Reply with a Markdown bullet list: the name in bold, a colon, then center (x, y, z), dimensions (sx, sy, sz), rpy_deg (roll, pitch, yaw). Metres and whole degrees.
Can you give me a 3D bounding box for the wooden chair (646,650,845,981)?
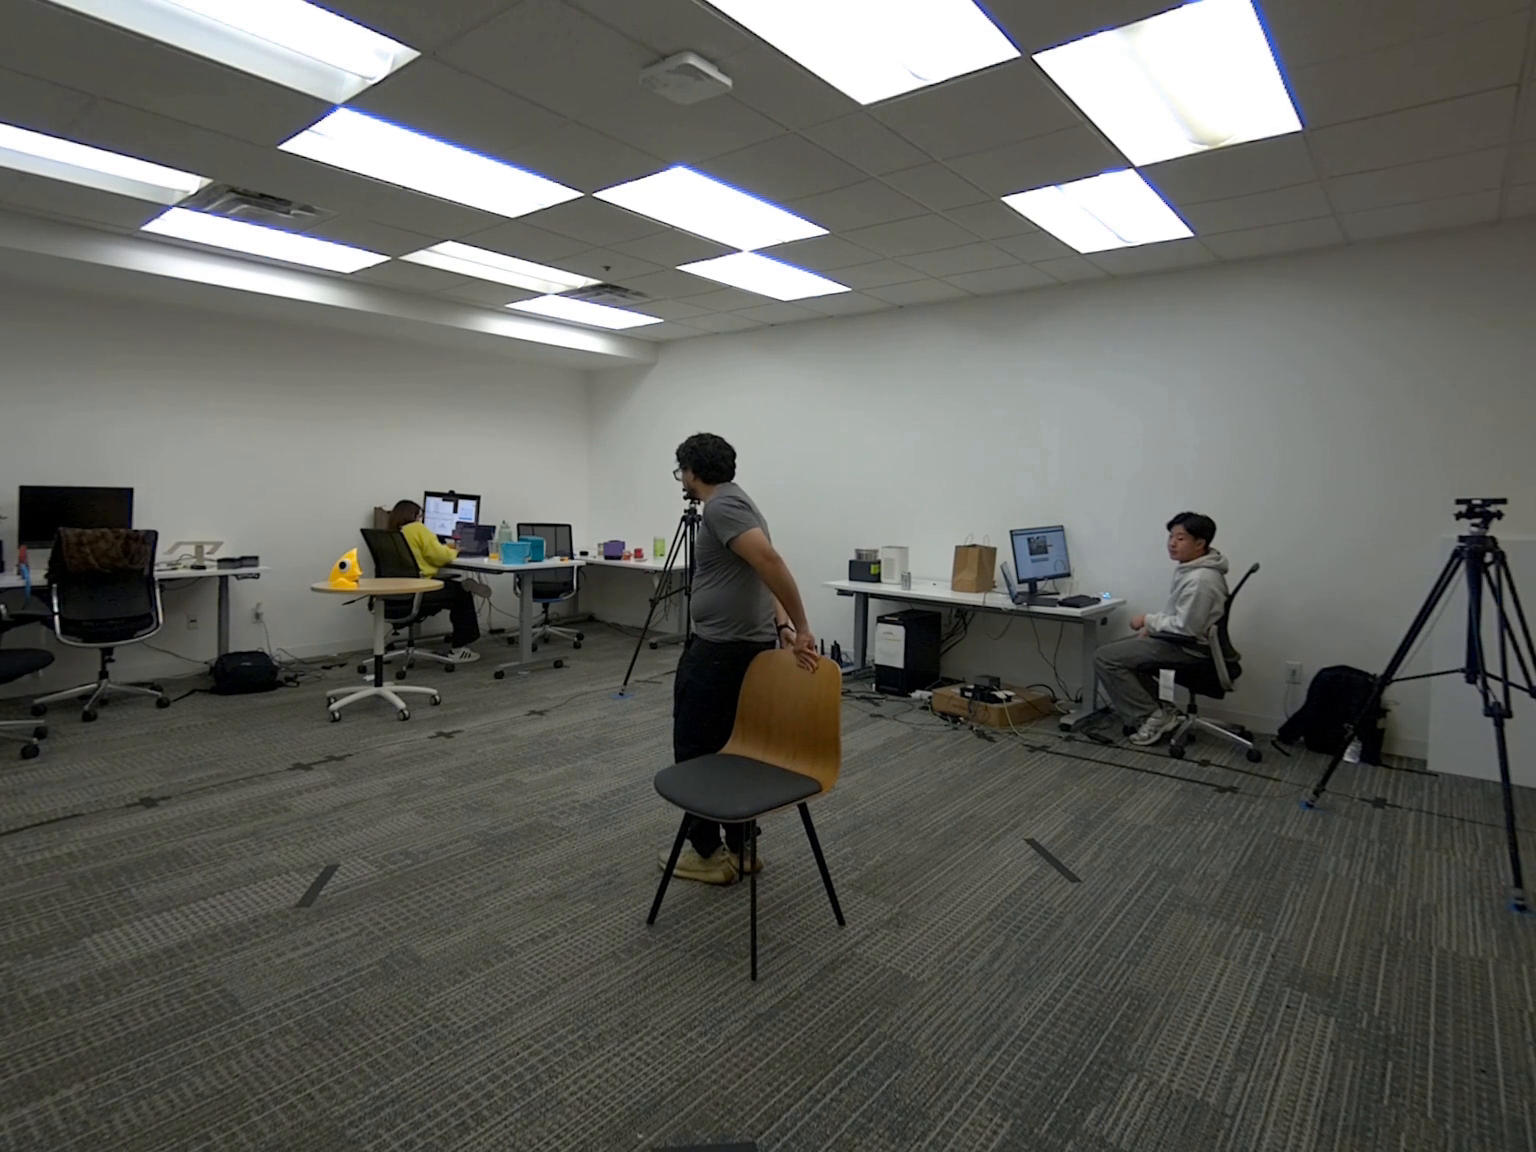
- **wooden chair**: center (-0.070, 0.688, 2.675), dimensions (0.494, 0.877, 0.506), rpy_deg (5, 1, 42)
